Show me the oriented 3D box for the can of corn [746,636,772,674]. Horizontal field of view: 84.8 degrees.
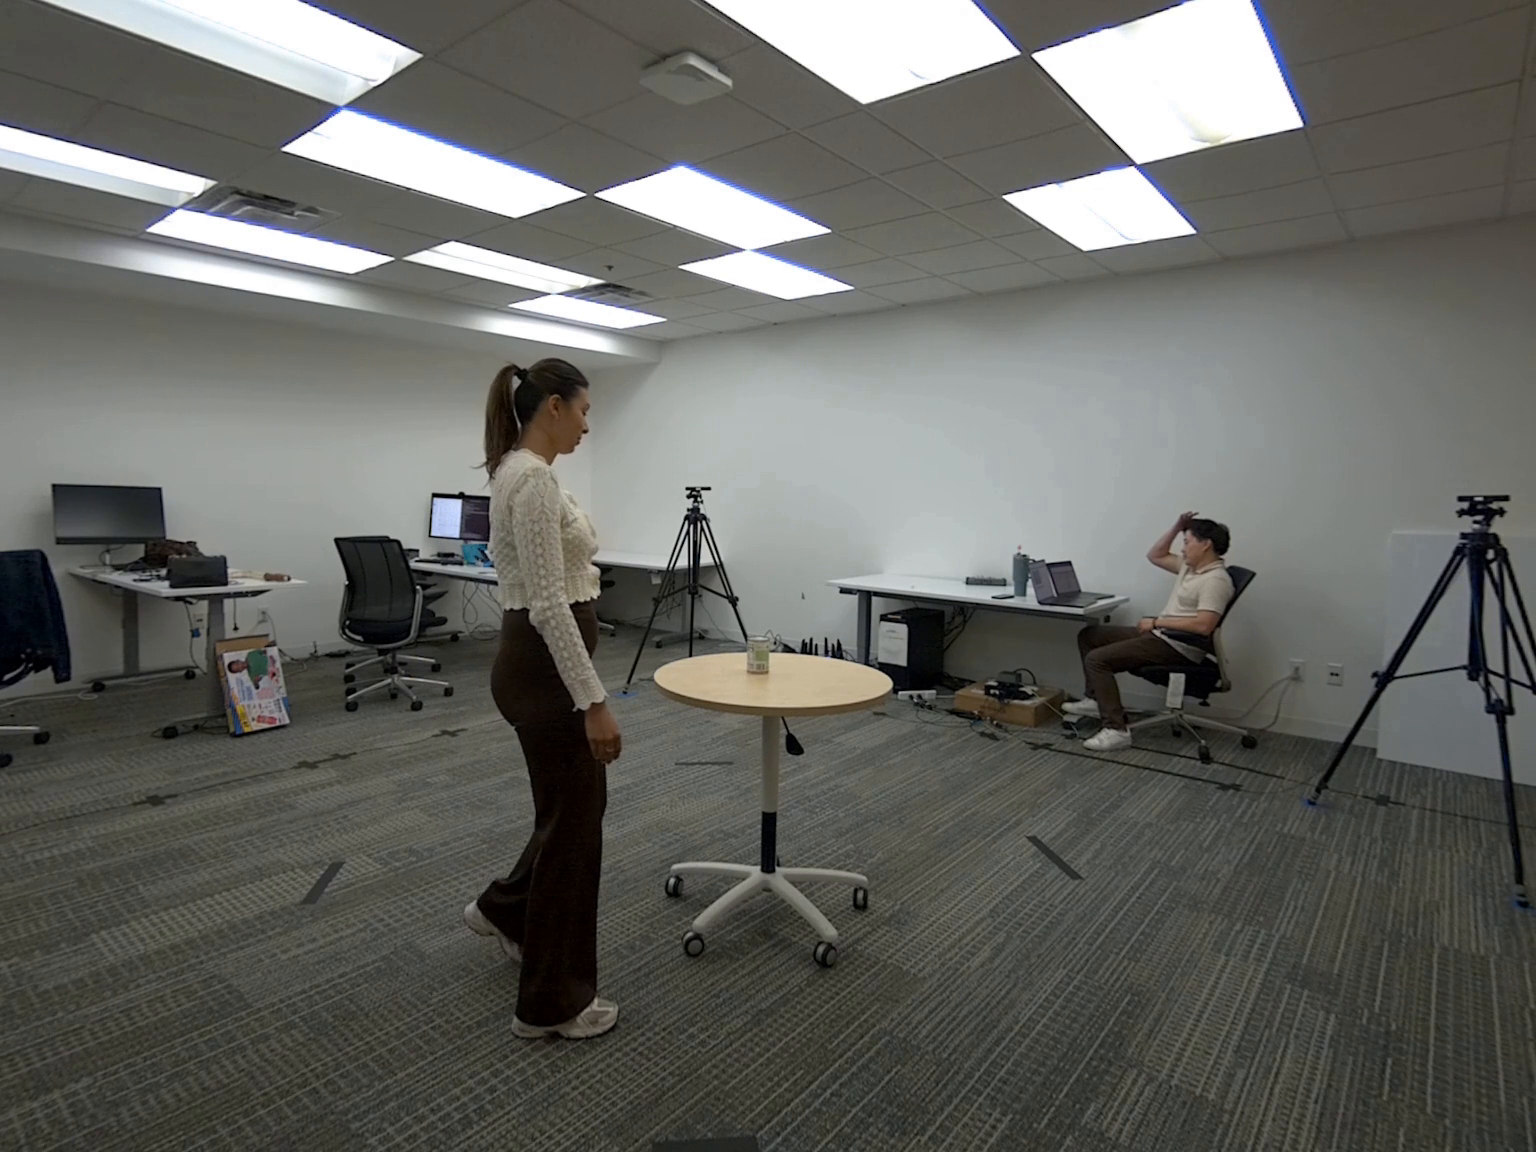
[{"bbox_3d":[-0.044,0.257,2.804,0.074,0.111,0.074,1,3,-2],"label":"can of corn"}]
